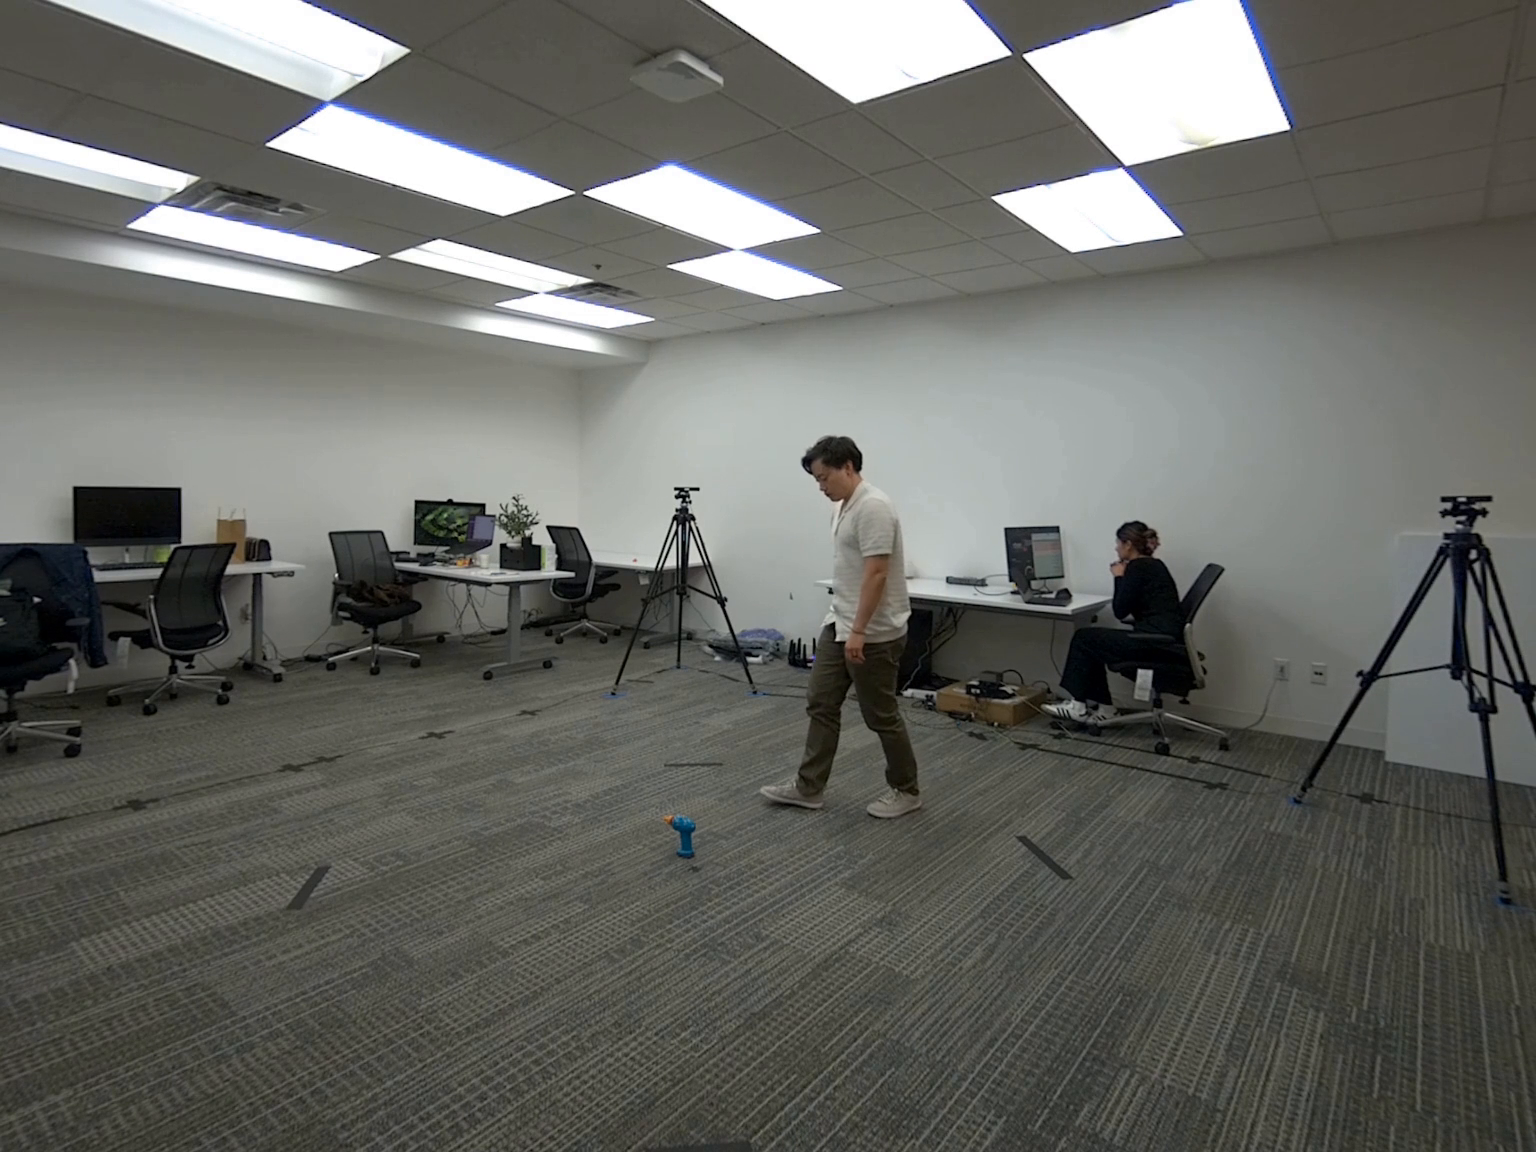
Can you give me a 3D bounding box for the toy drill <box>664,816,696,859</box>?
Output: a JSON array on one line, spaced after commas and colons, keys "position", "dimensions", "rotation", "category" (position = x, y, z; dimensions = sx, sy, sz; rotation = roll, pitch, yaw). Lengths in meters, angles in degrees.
[{"position": [-0.351, 0.983, 3.245], "dimensions": [0.175, 0.146, 0.059], "rotation": [2, 2, 39], "category": "toy drill"}]
